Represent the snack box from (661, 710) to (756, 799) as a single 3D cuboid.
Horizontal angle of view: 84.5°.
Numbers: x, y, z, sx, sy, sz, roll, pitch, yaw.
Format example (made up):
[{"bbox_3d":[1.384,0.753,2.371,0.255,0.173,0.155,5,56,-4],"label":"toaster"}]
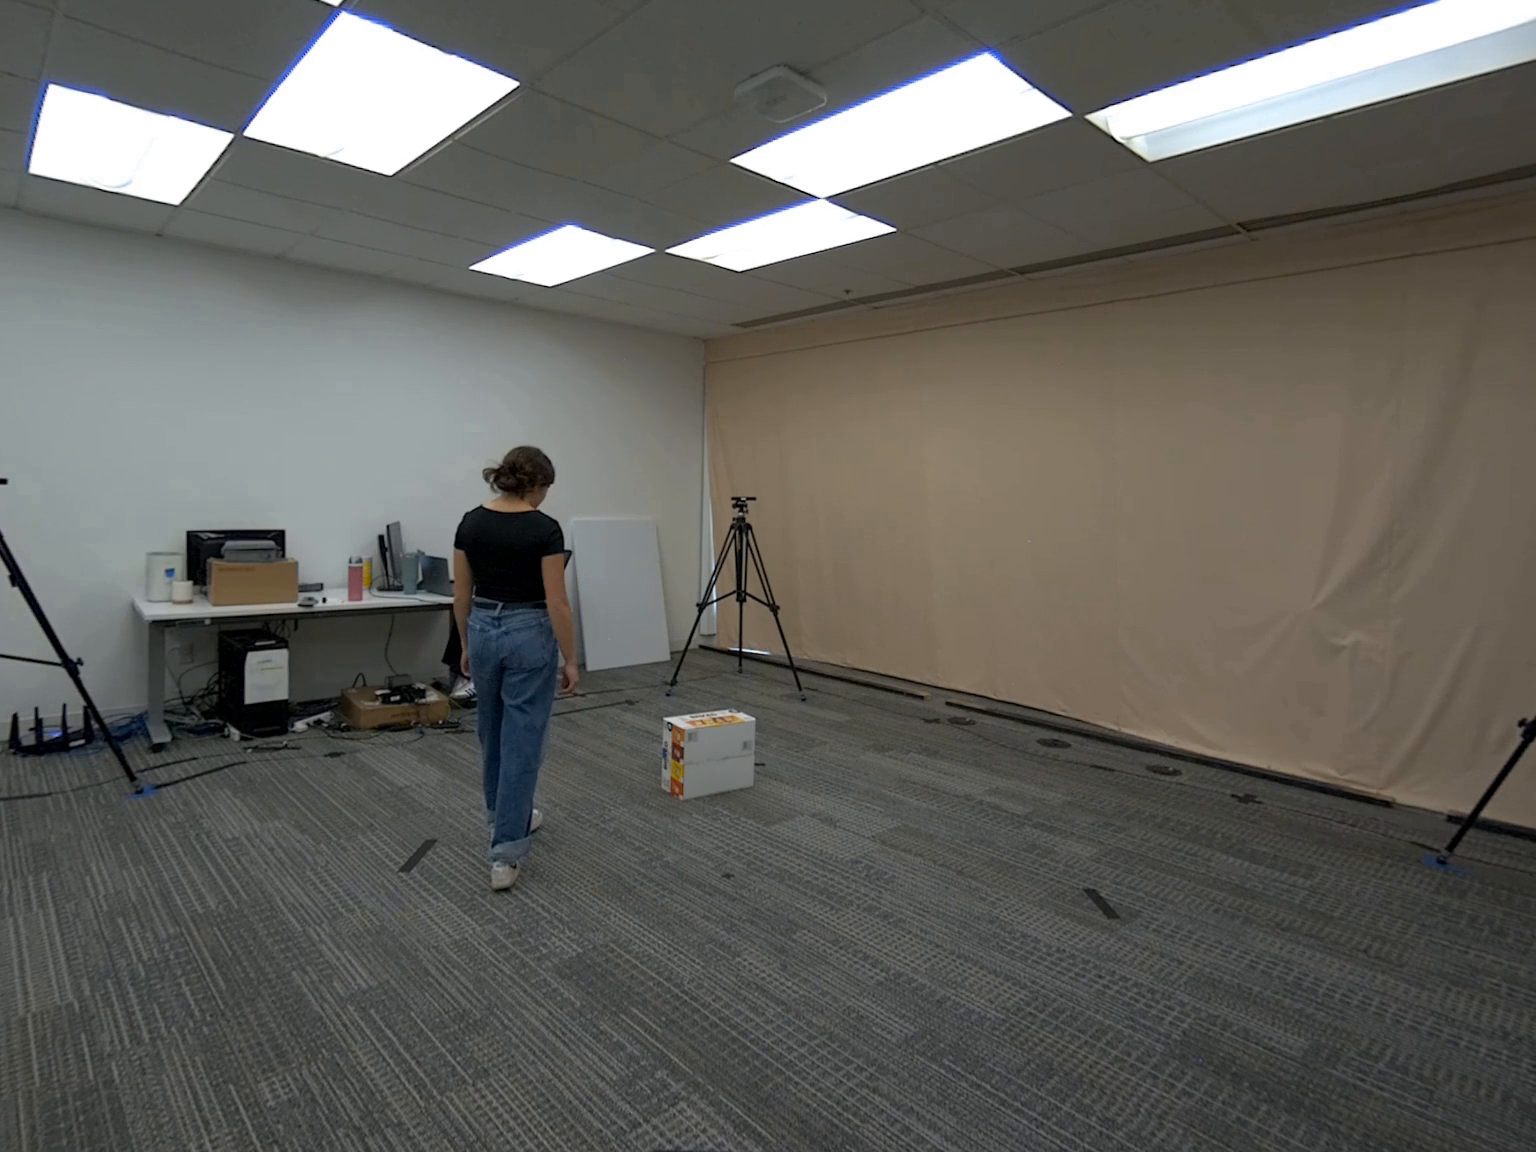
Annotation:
[{"bbox_3d":[-0.294,0.852,4.053,0.396,0.339,0.211,-1,6,-35],"label":"snack box"}]
